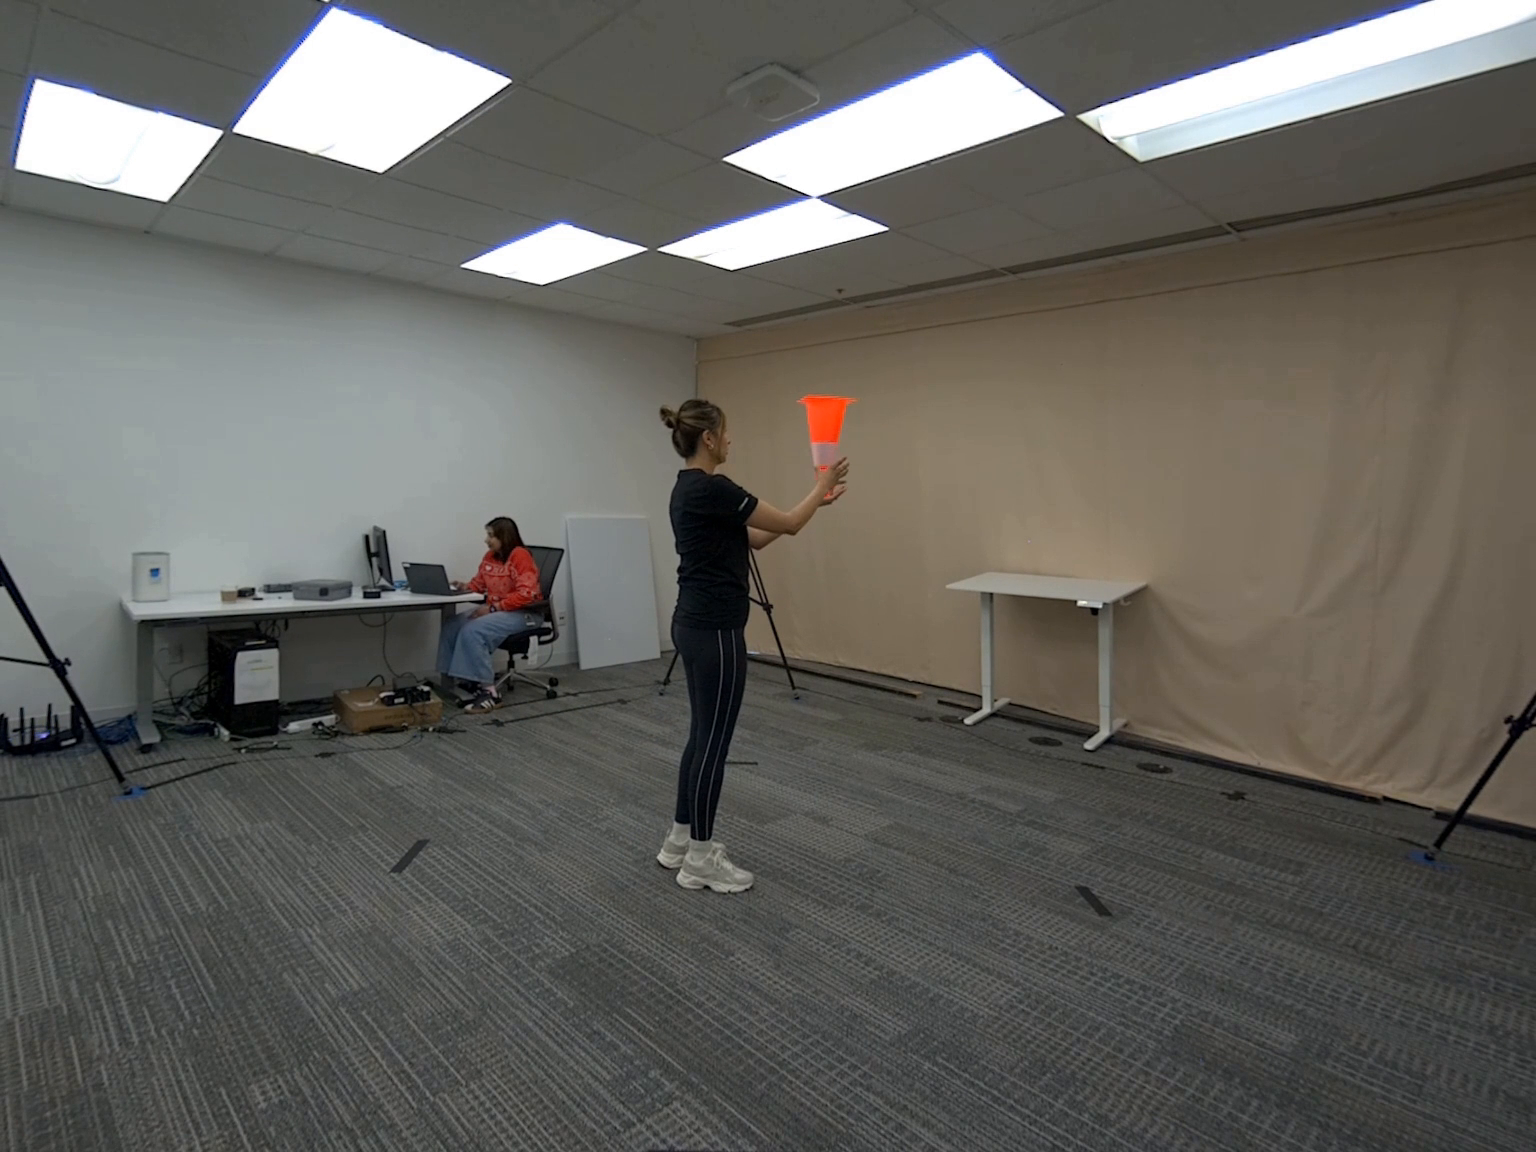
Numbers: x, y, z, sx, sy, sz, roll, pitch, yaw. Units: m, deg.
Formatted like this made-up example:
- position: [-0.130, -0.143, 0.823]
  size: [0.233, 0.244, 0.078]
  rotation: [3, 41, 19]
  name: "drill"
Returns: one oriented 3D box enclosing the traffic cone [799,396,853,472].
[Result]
- position: [0.220, -0.489, 3.257]
  size: [0.203, 0.383, 0.206]
  rotation: [1, 2, -14]
  name: "traffic cone"
